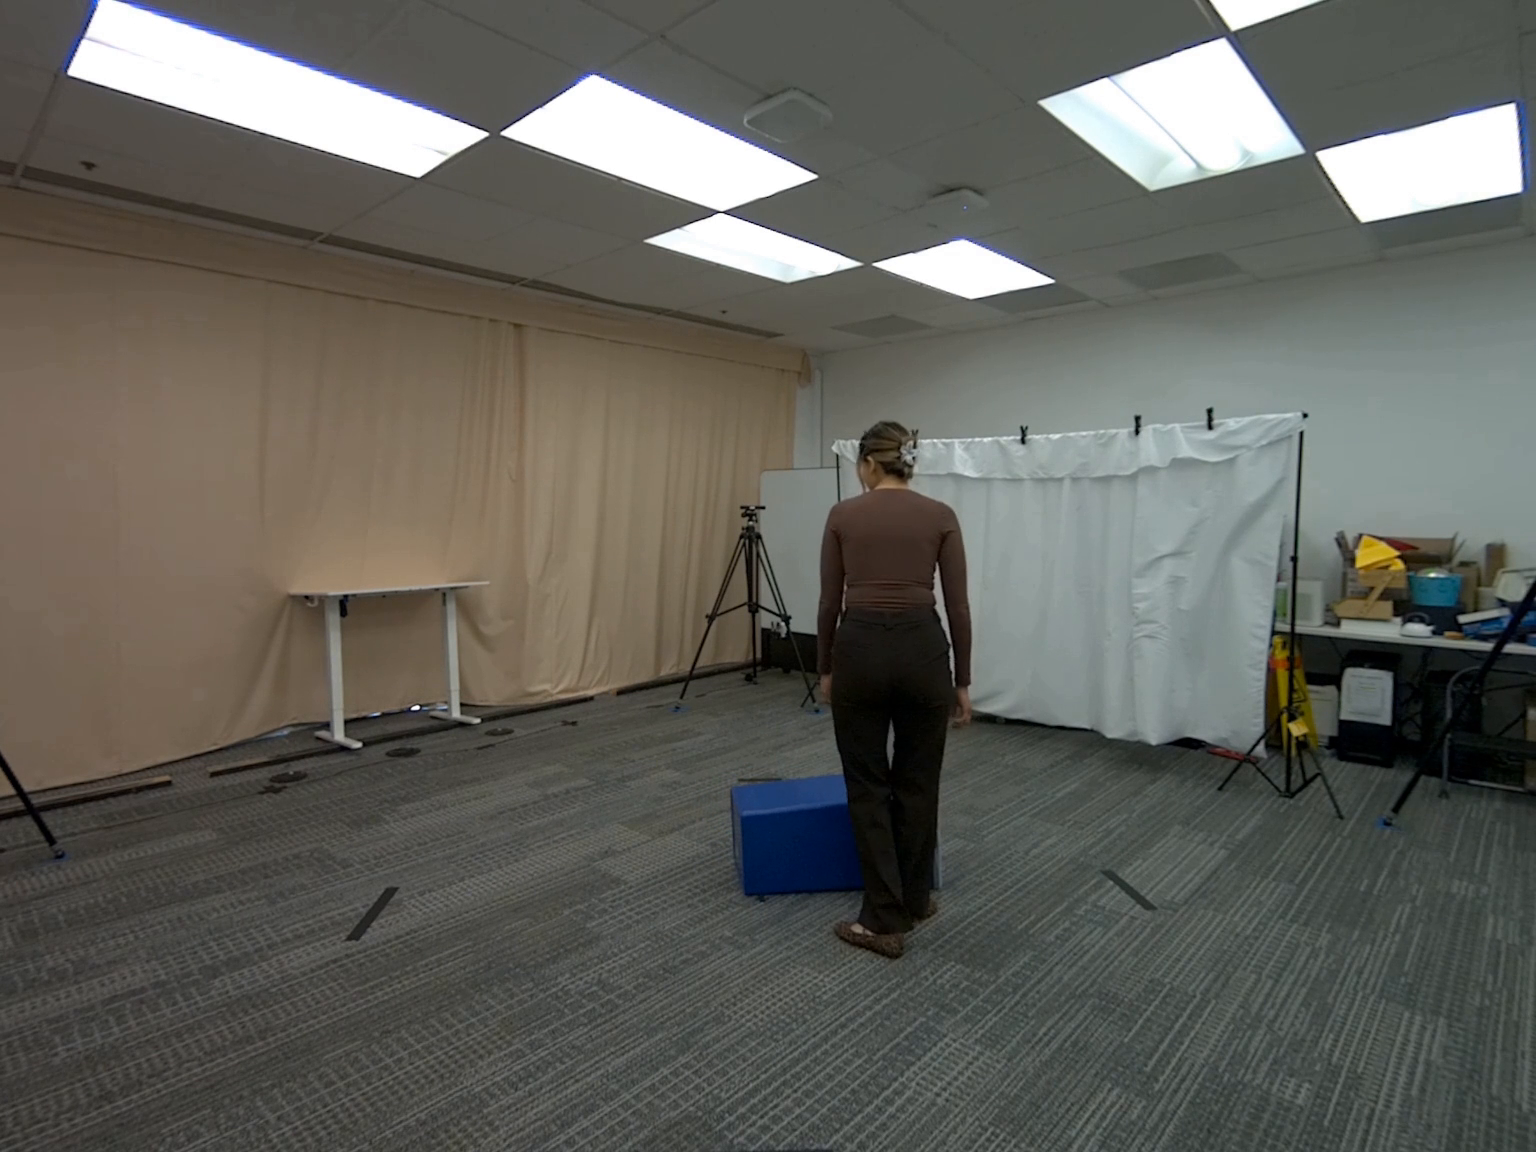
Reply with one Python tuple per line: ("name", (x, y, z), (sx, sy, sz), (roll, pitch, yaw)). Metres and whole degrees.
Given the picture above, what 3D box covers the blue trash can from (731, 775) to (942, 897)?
("blue trash can", (0.241, 0.965, 3.170), (0.708, 0.377, 0.378), (-3, 5, -8))
